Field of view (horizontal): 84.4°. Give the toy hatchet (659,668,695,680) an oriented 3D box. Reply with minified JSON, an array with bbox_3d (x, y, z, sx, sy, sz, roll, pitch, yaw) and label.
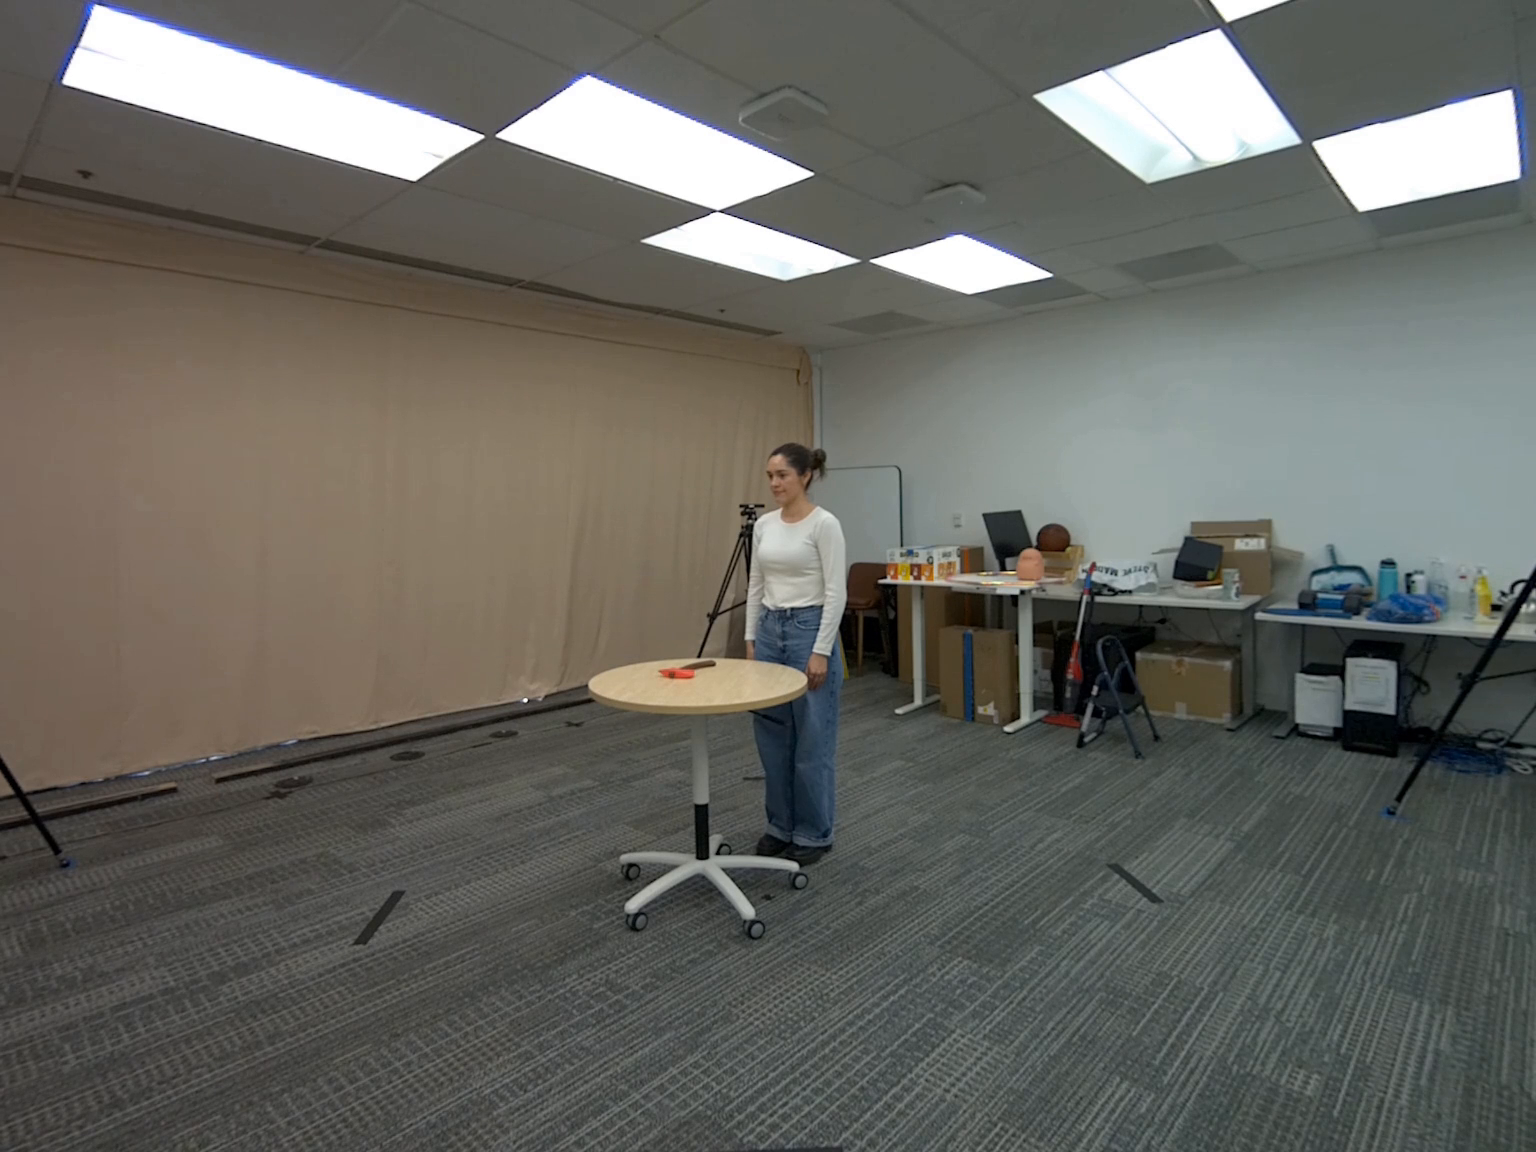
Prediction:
[{"bbox_3d":[-0.265,0.341,3.075,0.135,0.029,0.262,6,8,41],"label":"toy hatchet"}]
